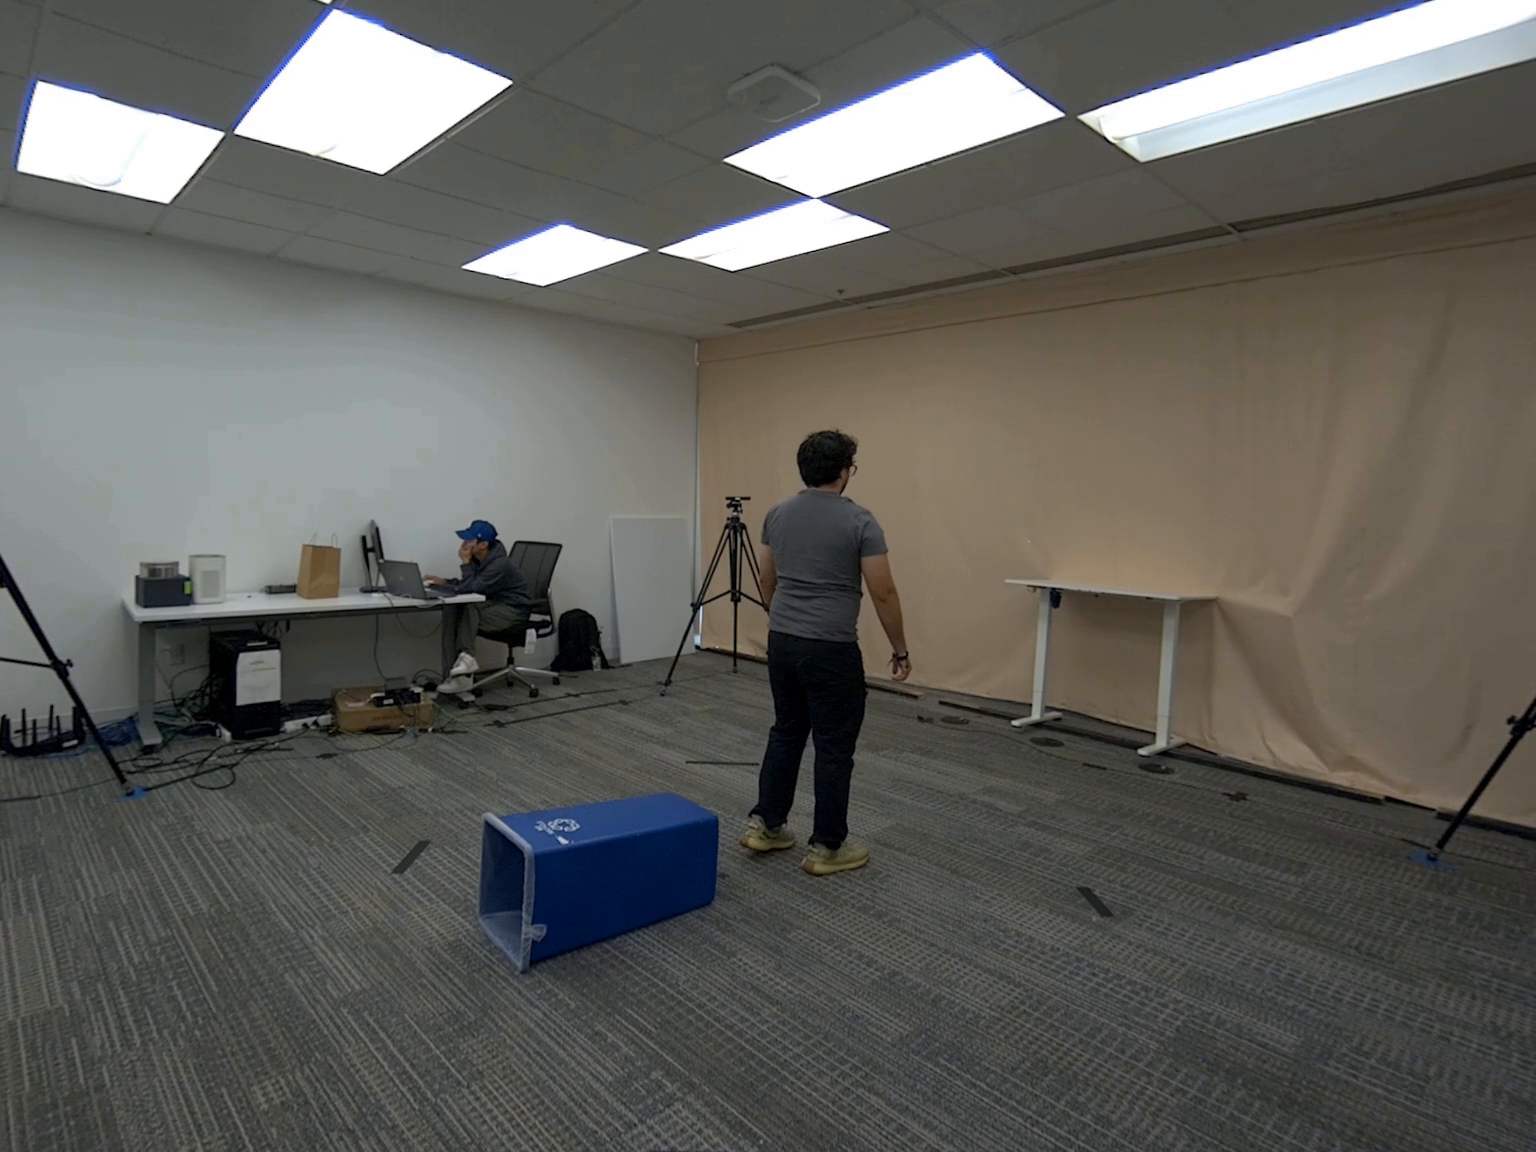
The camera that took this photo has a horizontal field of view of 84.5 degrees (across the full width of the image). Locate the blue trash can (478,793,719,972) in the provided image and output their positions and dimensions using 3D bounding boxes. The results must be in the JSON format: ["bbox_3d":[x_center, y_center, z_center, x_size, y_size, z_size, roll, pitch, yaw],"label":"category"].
[{"bbox_3d":[-0.550,0.949,2.780,0.697,0.373,0.387,0,4,-39],"label":"blue trash can"}]
